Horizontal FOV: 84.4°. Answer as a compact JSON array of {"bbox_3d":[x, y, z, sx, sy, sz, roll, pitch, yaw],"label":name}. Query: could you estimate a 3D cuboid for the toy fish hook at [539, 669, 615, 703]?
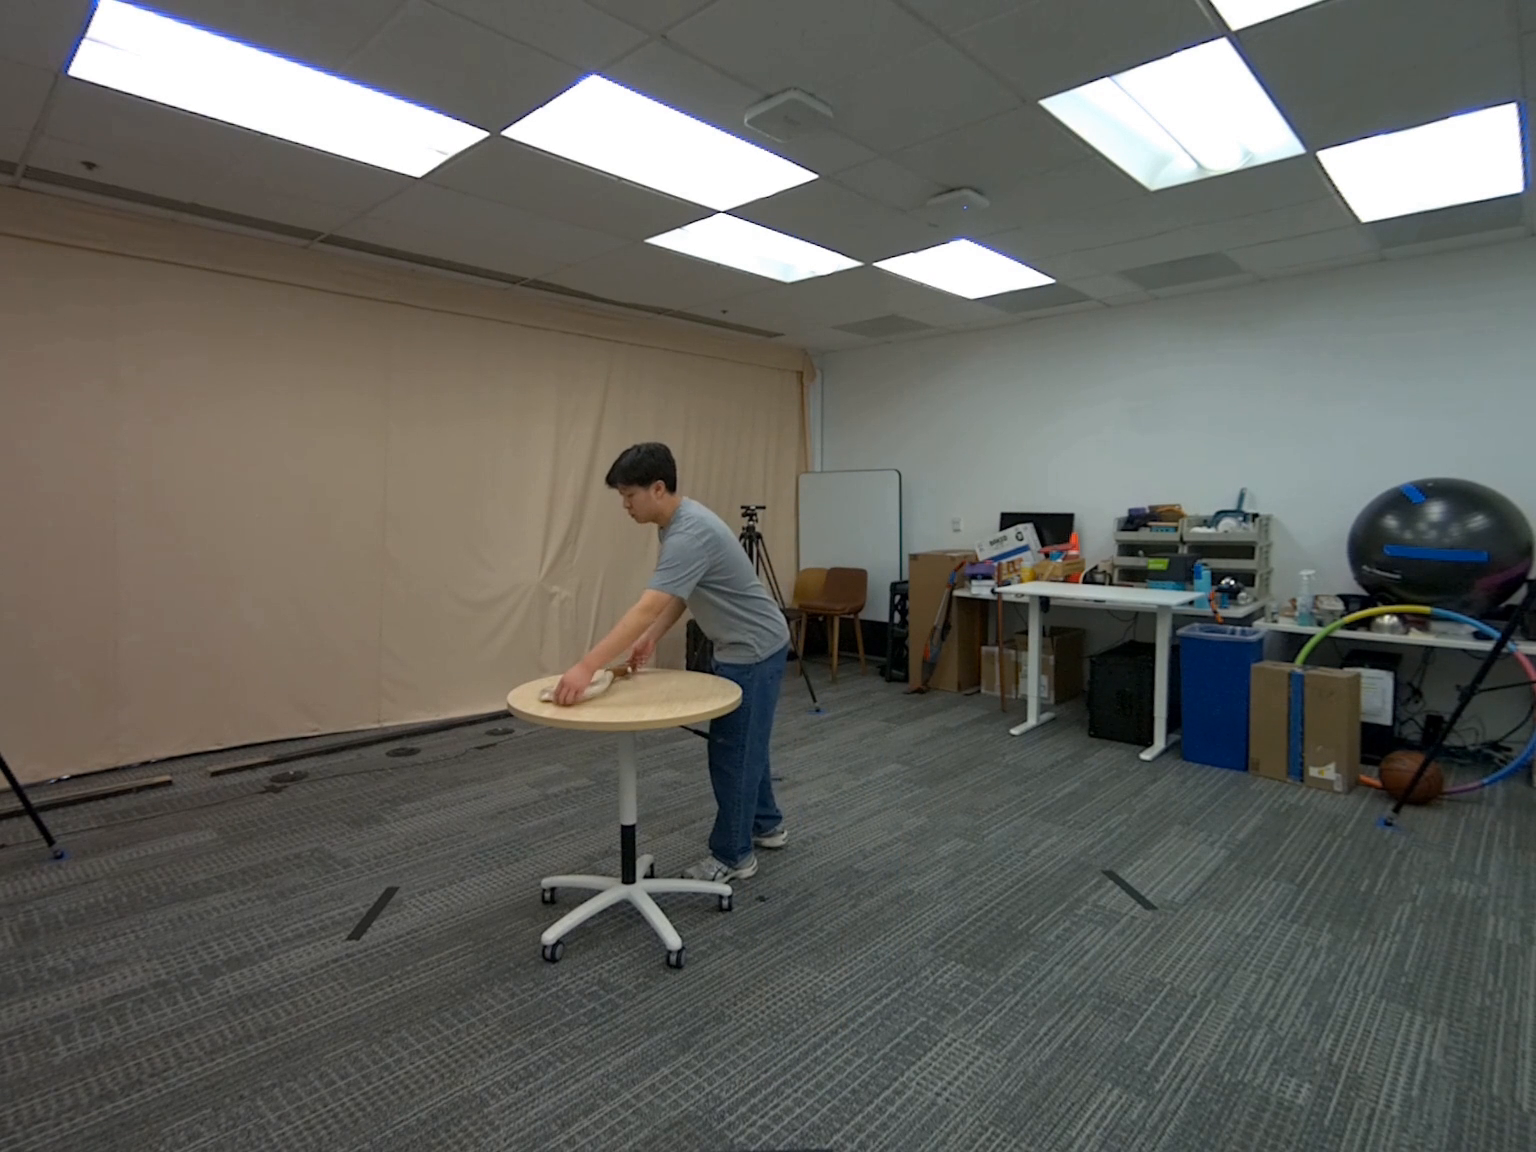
[{"bbox_3d":[-0.614,0.340,2.844,0.228,0.048,0.500,-1,4,13],"label":"toy fish hook"}]
